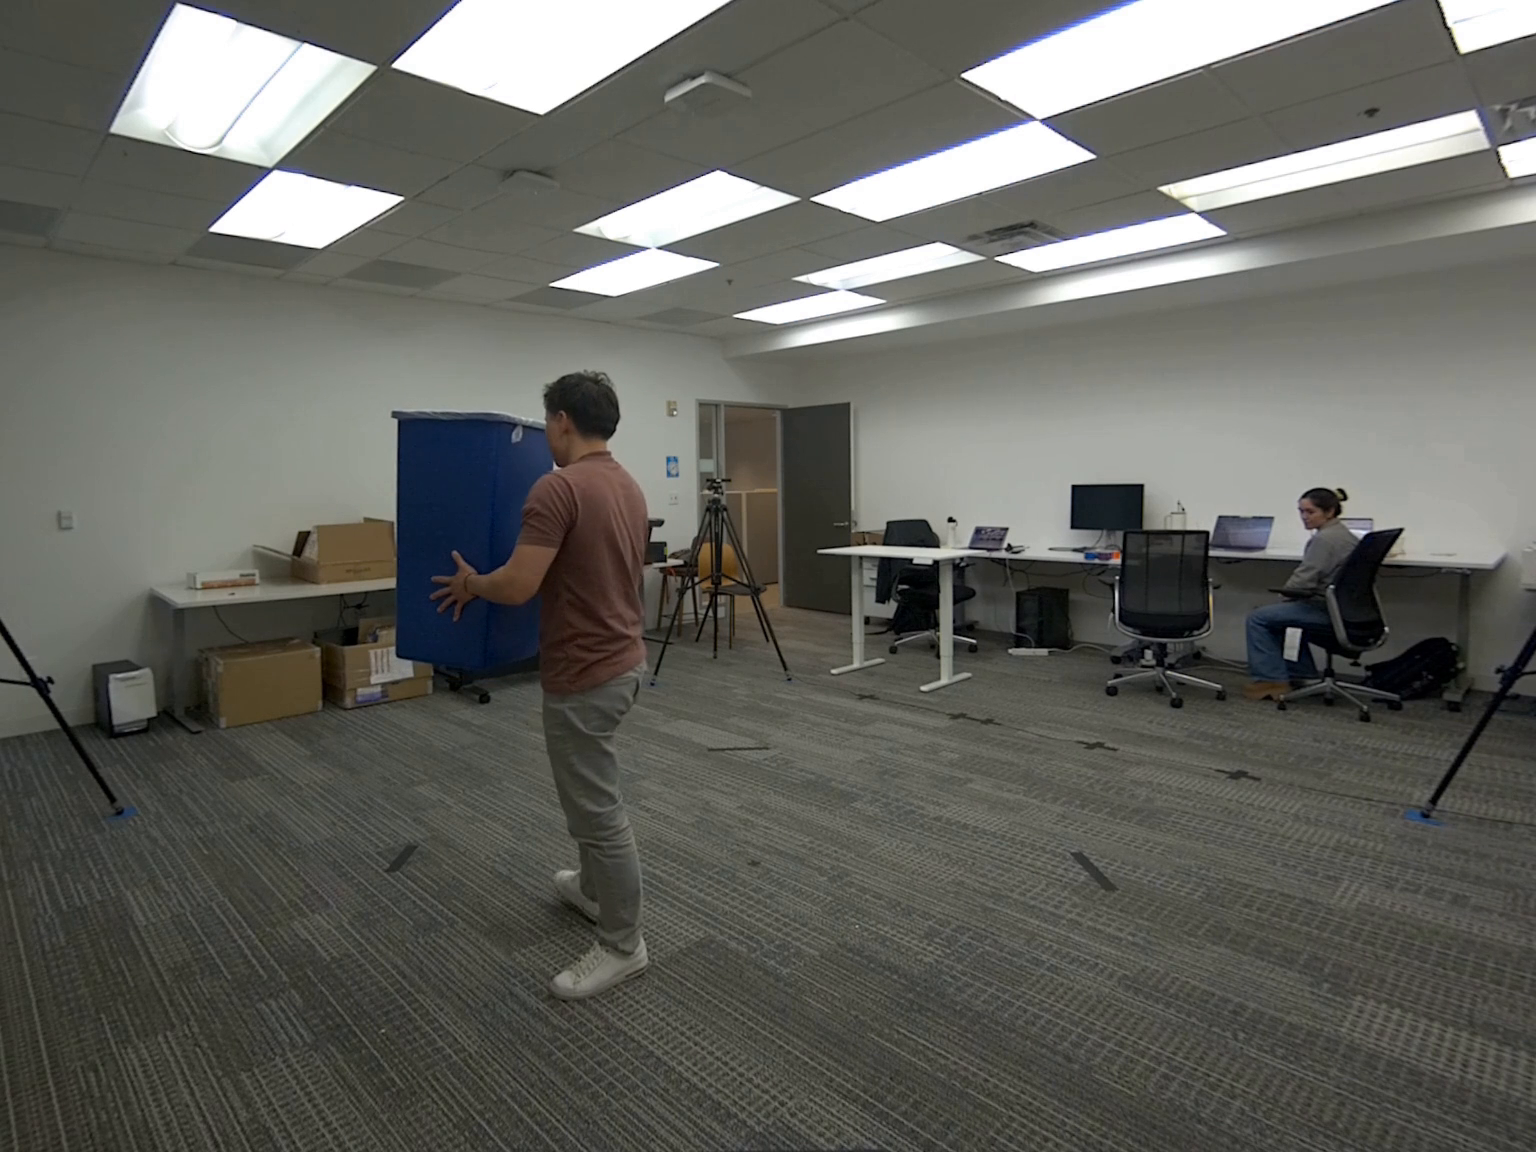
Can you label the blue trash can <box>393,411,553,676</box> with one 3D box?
[{"bbox_3d":[-0.879,-0.113,2.539,0.381,0.712,0.372,5,3,17],"label":"blue trash can"}]
